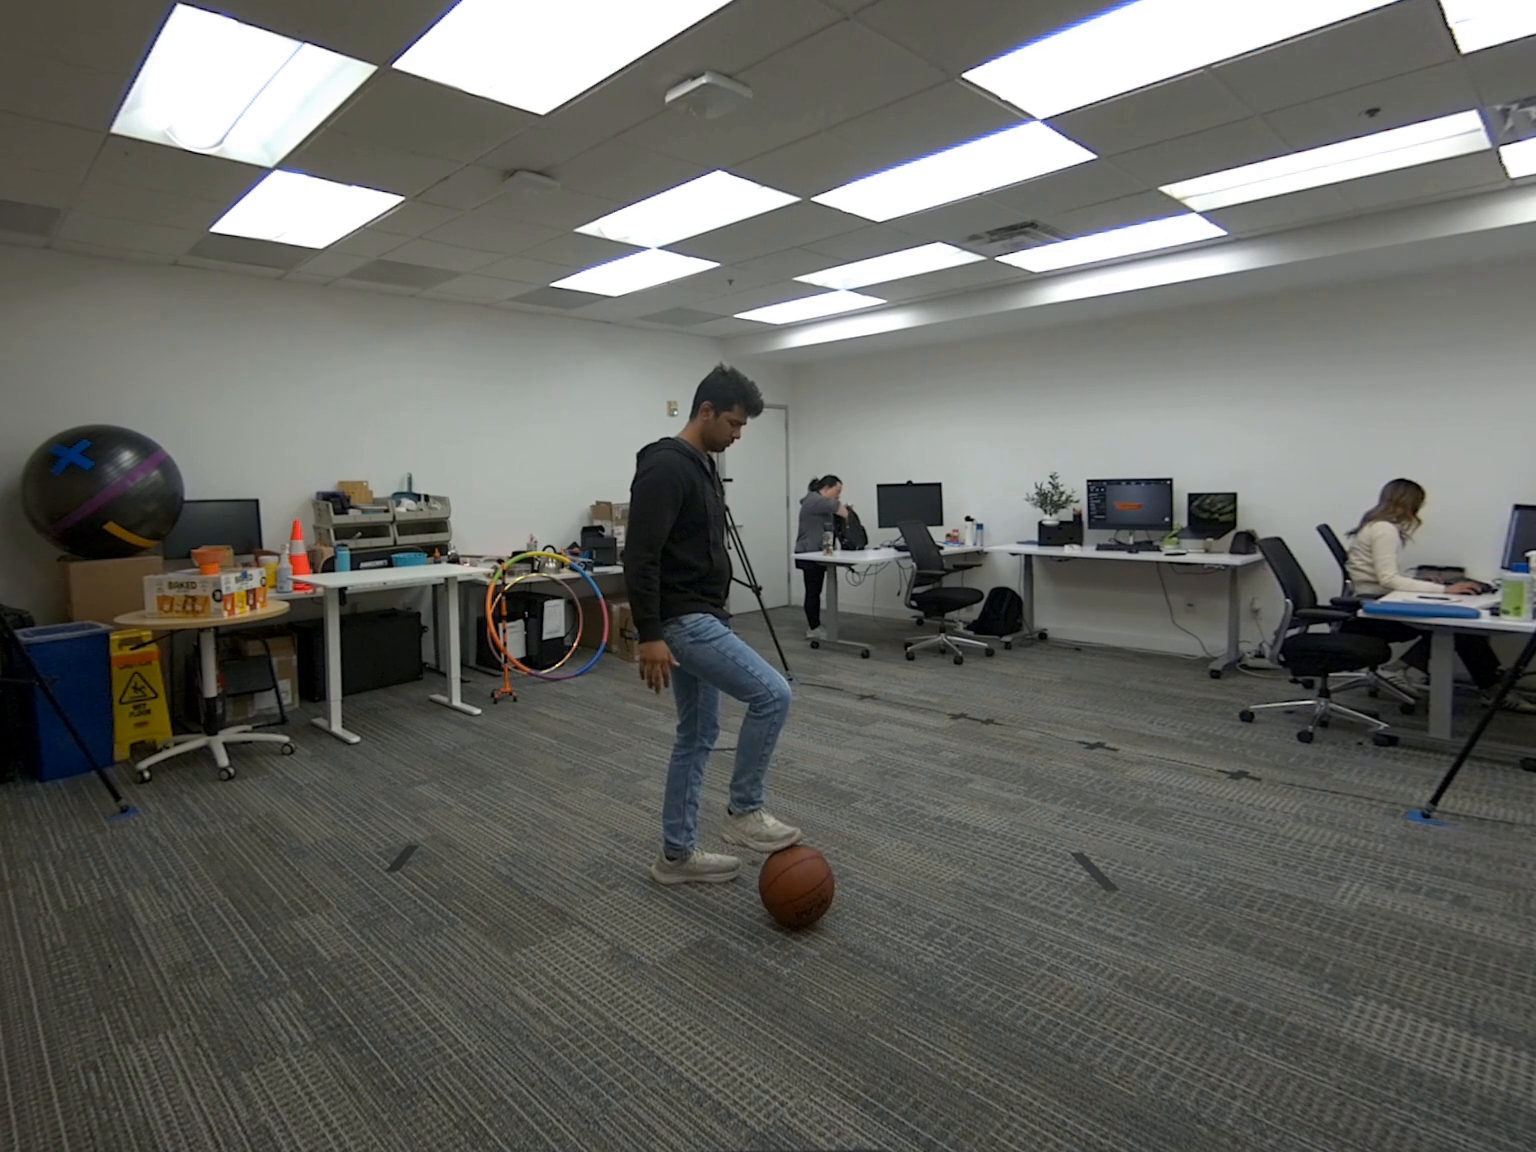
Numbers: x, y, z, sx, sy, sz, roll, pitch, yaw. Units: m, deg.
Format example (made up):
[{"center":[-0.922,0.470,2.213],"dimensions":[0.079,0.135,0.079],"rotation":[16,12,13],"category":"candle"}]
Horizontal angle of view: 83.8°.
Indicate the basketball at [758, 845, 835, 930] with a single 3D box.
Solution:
[{"center":[0.107,0.973,2.680],"dimensions":[0.236,0.235,0.237],"rotation":[-1,5,-2],"category":"basketball"}]
